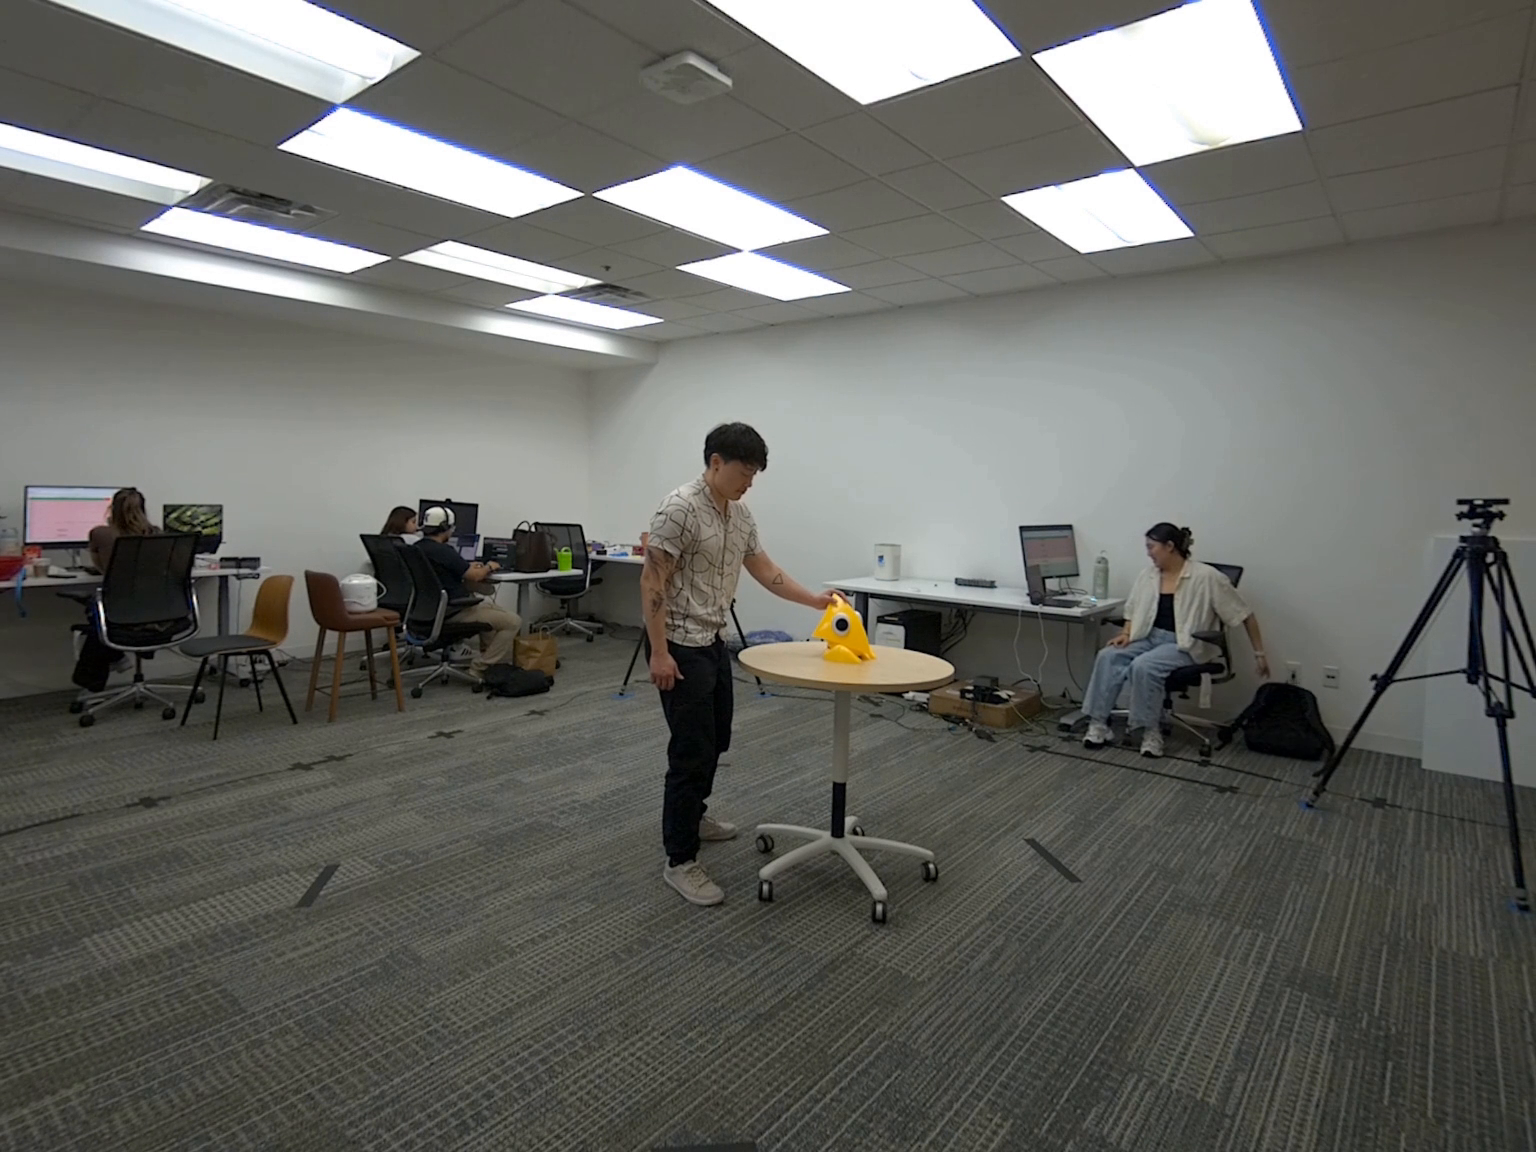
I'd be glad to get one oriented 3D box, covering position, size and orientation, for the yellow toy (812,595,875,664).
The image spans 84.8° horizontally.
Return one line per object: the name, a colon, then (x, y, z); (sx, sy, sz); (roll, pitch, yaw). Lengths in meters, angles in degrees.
yellow toy: (0.282, 0.186, 3.108); (0.199, 0.230, 0.199); (5, 5, 36)
